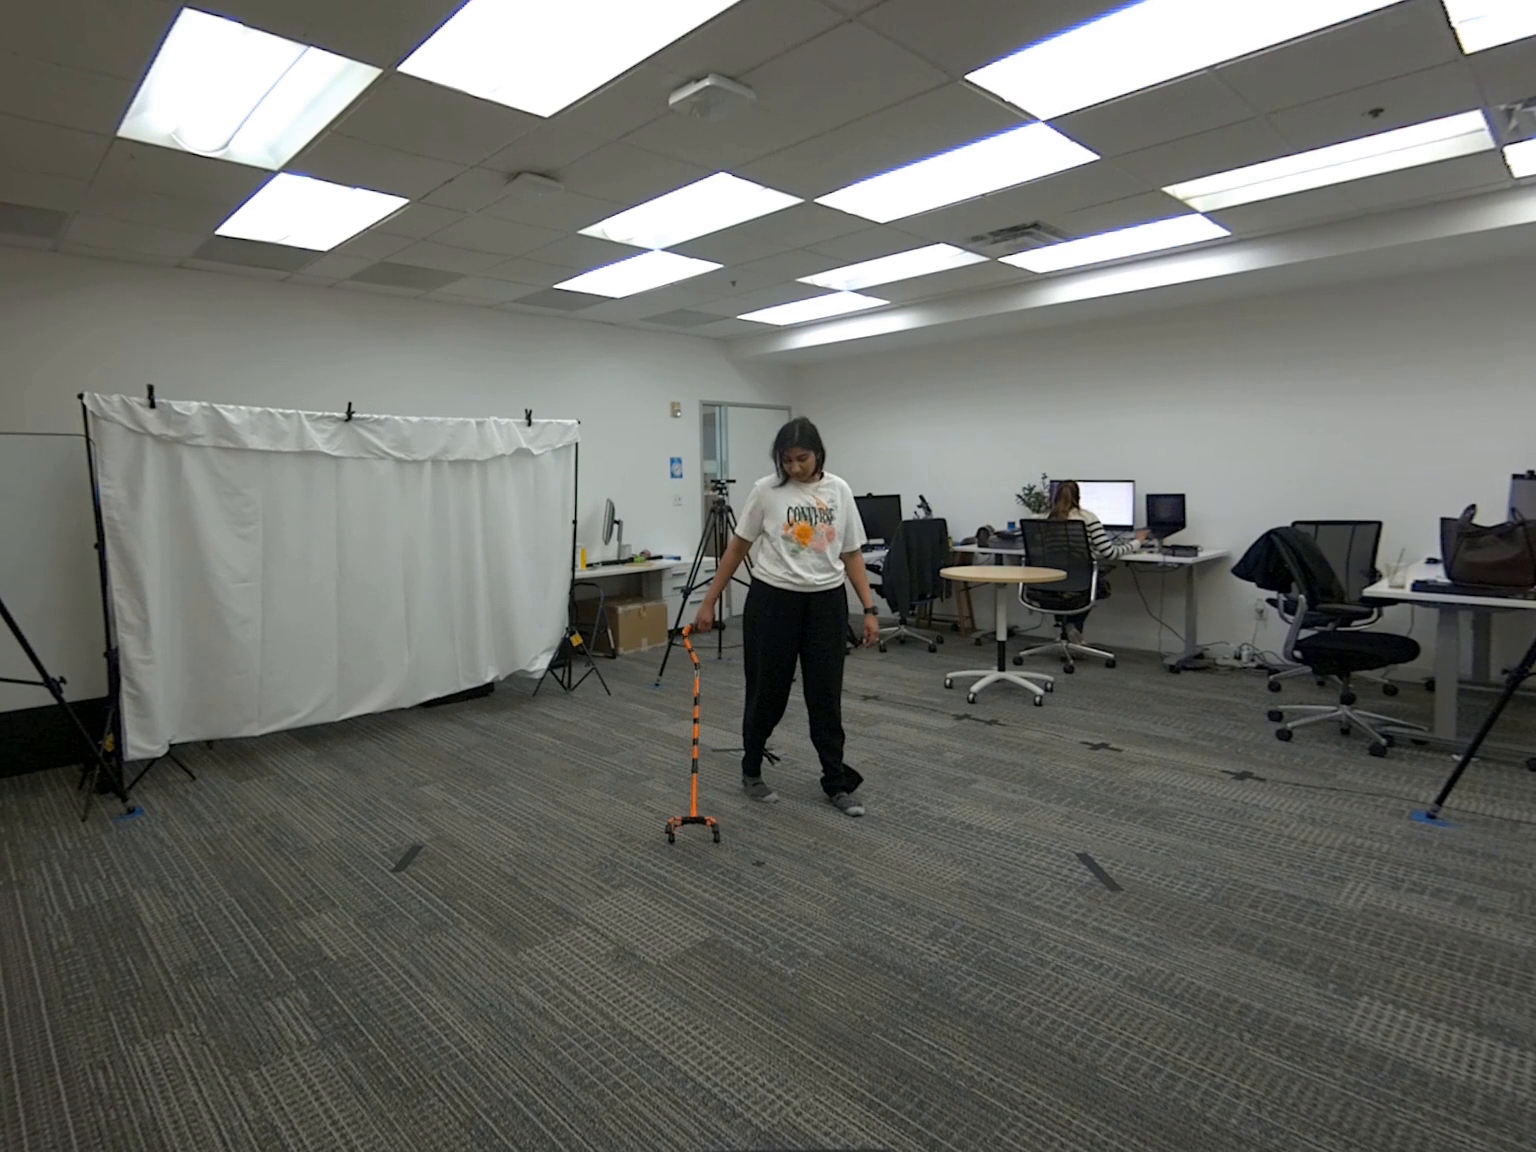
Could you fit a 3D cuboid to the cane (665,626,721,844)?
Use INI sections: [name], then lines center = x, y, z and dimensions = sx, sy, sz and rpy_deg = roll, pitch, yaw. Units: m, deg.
[cane]
center = -0.295, 0.603, 3.498
dimensions = 0.206, 0.931, 0.148
rpy_deg = -2, -33, -1
